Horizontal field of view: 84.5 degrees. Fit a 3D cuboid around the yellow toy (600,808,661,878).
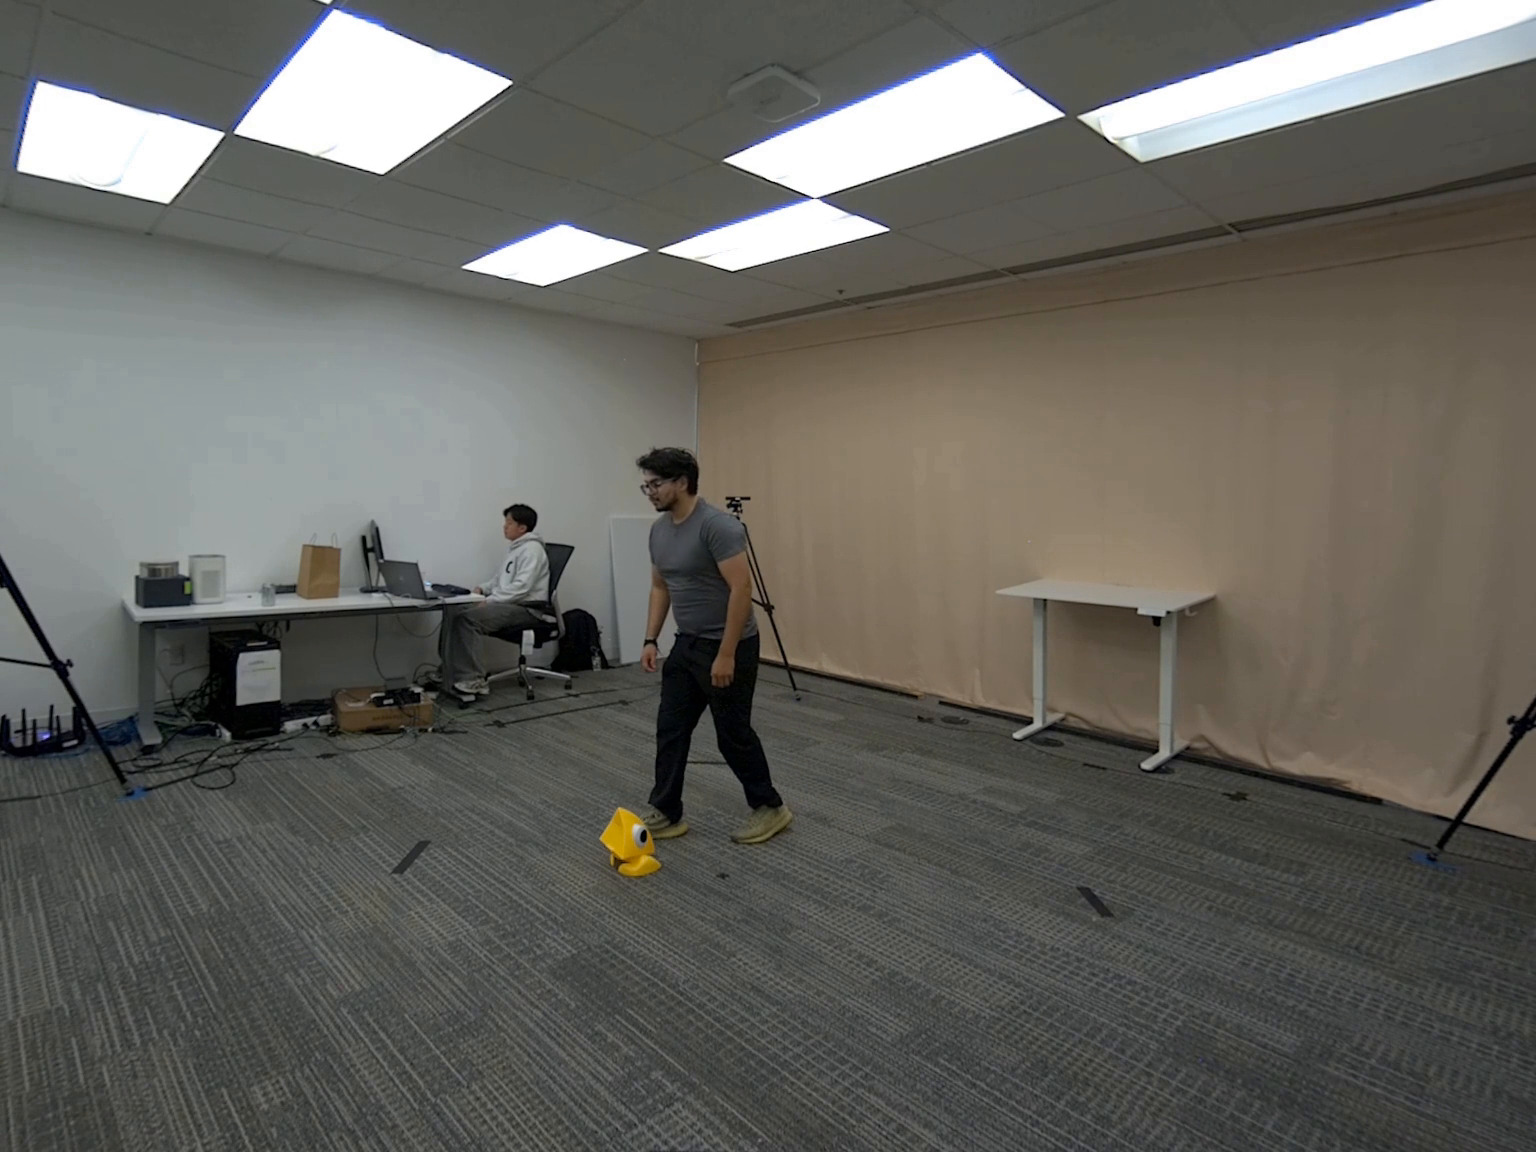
[{"bbox_3d":[-0.520,0.980,3.175,0.189,0.230,0.210,0,5,-34],"label":"yellow toy"}]
